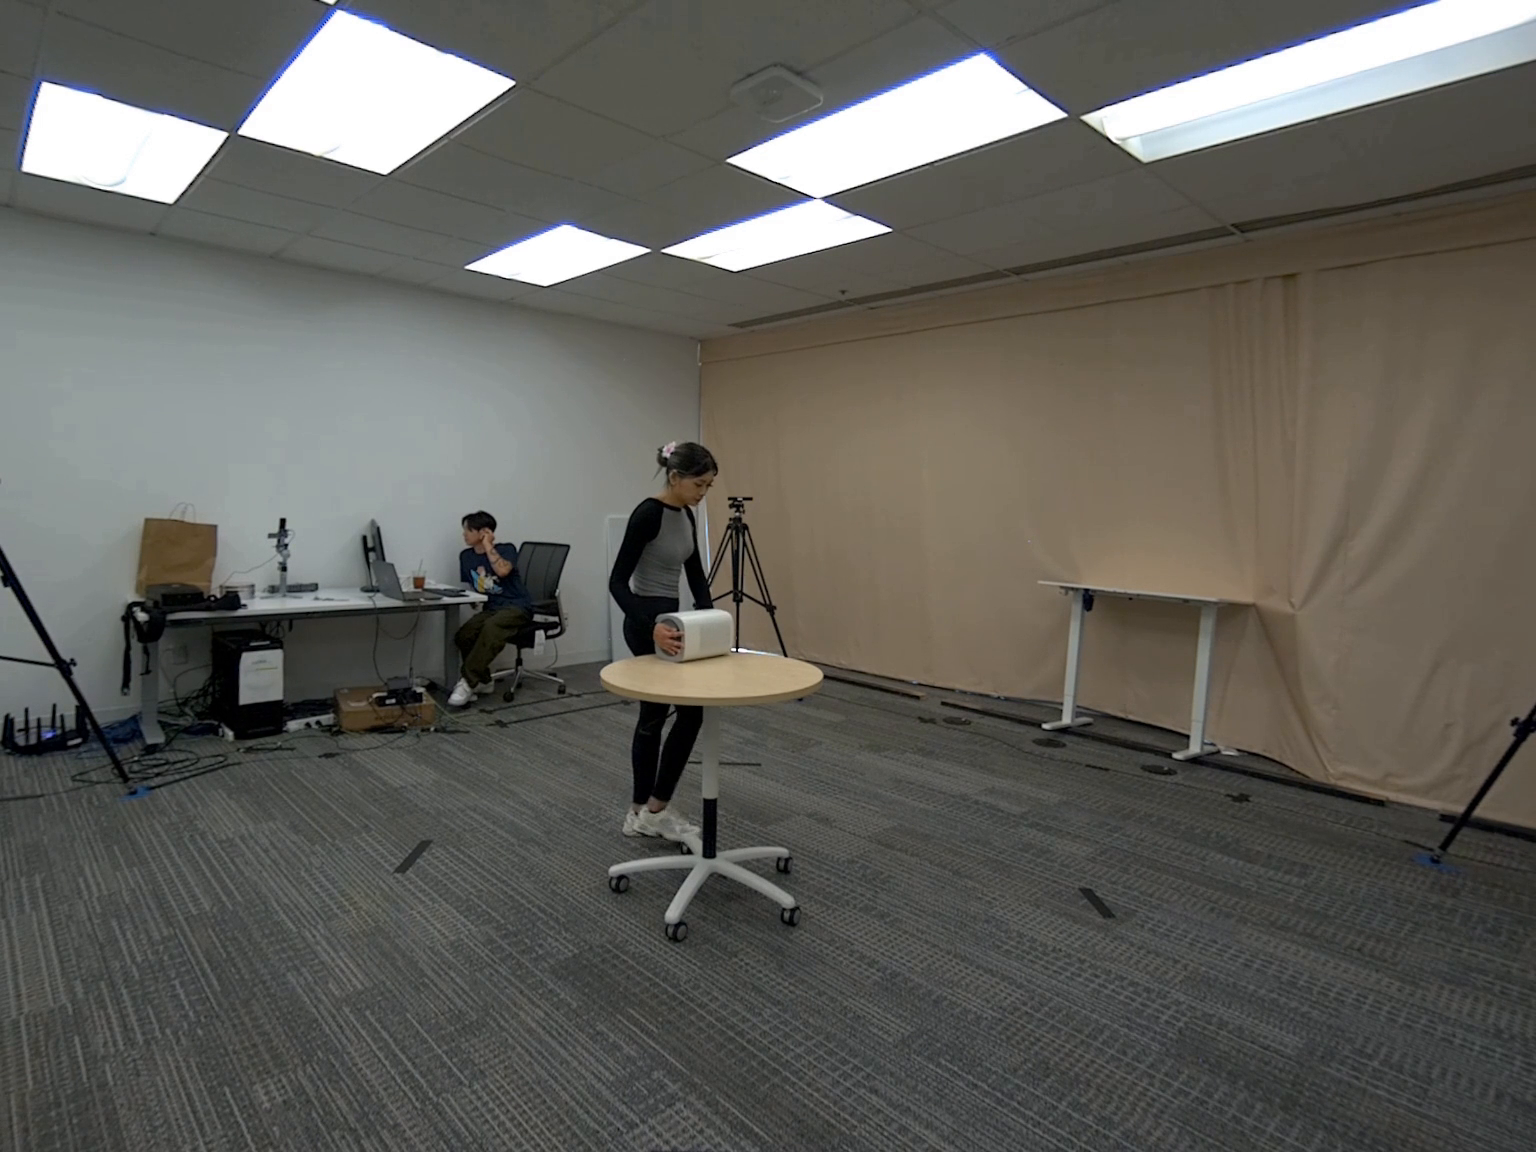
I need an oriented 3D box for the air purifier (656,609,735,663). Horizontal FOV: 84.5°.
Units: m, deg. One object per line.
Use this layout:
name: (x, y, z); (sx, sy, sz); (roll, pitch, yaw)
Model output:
air purifier: (-0.272, 0.222, 3.157); (0.175, 0.171, 0.259); (4, 5, 43)
